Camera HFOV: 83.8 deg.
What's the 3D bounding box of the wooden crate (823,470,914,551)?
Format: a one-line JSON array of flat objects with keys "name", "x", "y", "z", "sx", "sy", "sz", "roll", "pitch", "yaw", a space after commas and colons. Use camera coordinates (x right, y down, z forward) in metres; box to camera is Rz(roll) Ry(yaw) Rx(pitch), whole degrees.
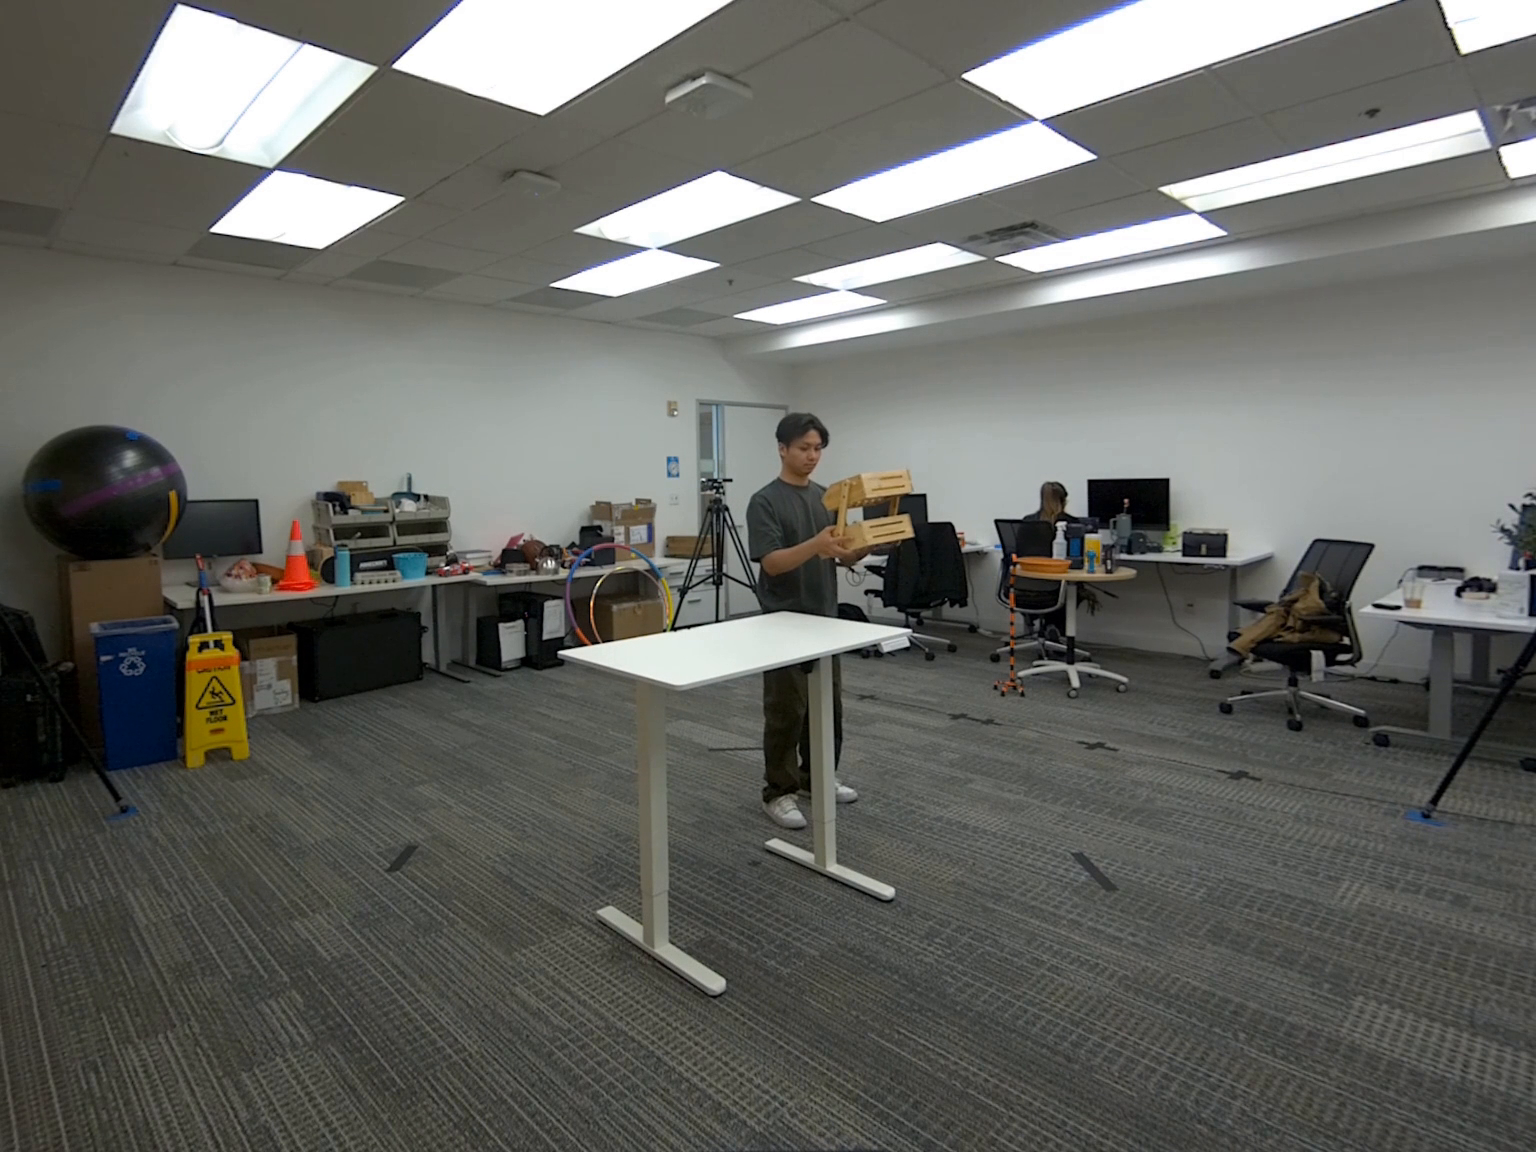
[{"name": "wooden crate", "x": 0.364, "y": -0.243, "z": 3.315, "sx": 0.317, "sy": 0.274, "sz": 0.308, "roll": -11, "pitch": -4, "yaw": -43}]
